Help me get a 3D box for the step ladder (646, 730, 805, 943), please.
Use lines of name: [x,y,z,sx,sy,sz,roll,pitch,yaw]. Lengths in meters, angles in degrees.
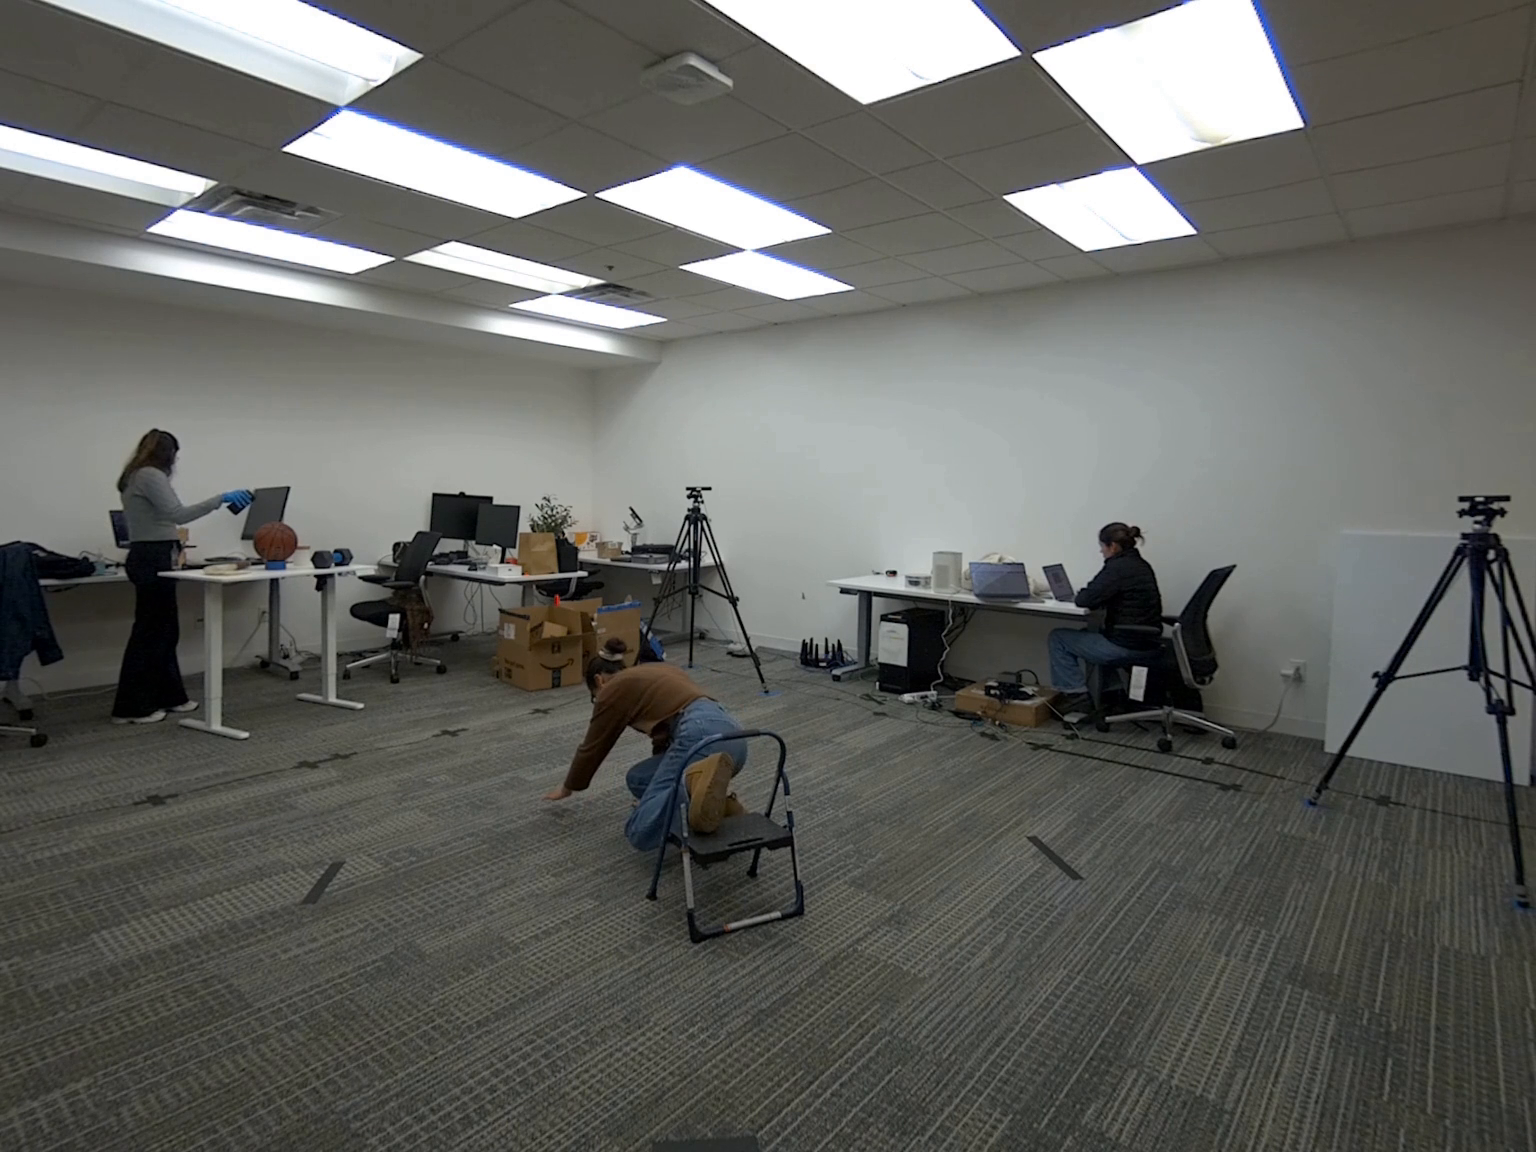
step ladder: [-0.145,0.793,2.817,0.419,0.604,0.360,-1,4,-31]
